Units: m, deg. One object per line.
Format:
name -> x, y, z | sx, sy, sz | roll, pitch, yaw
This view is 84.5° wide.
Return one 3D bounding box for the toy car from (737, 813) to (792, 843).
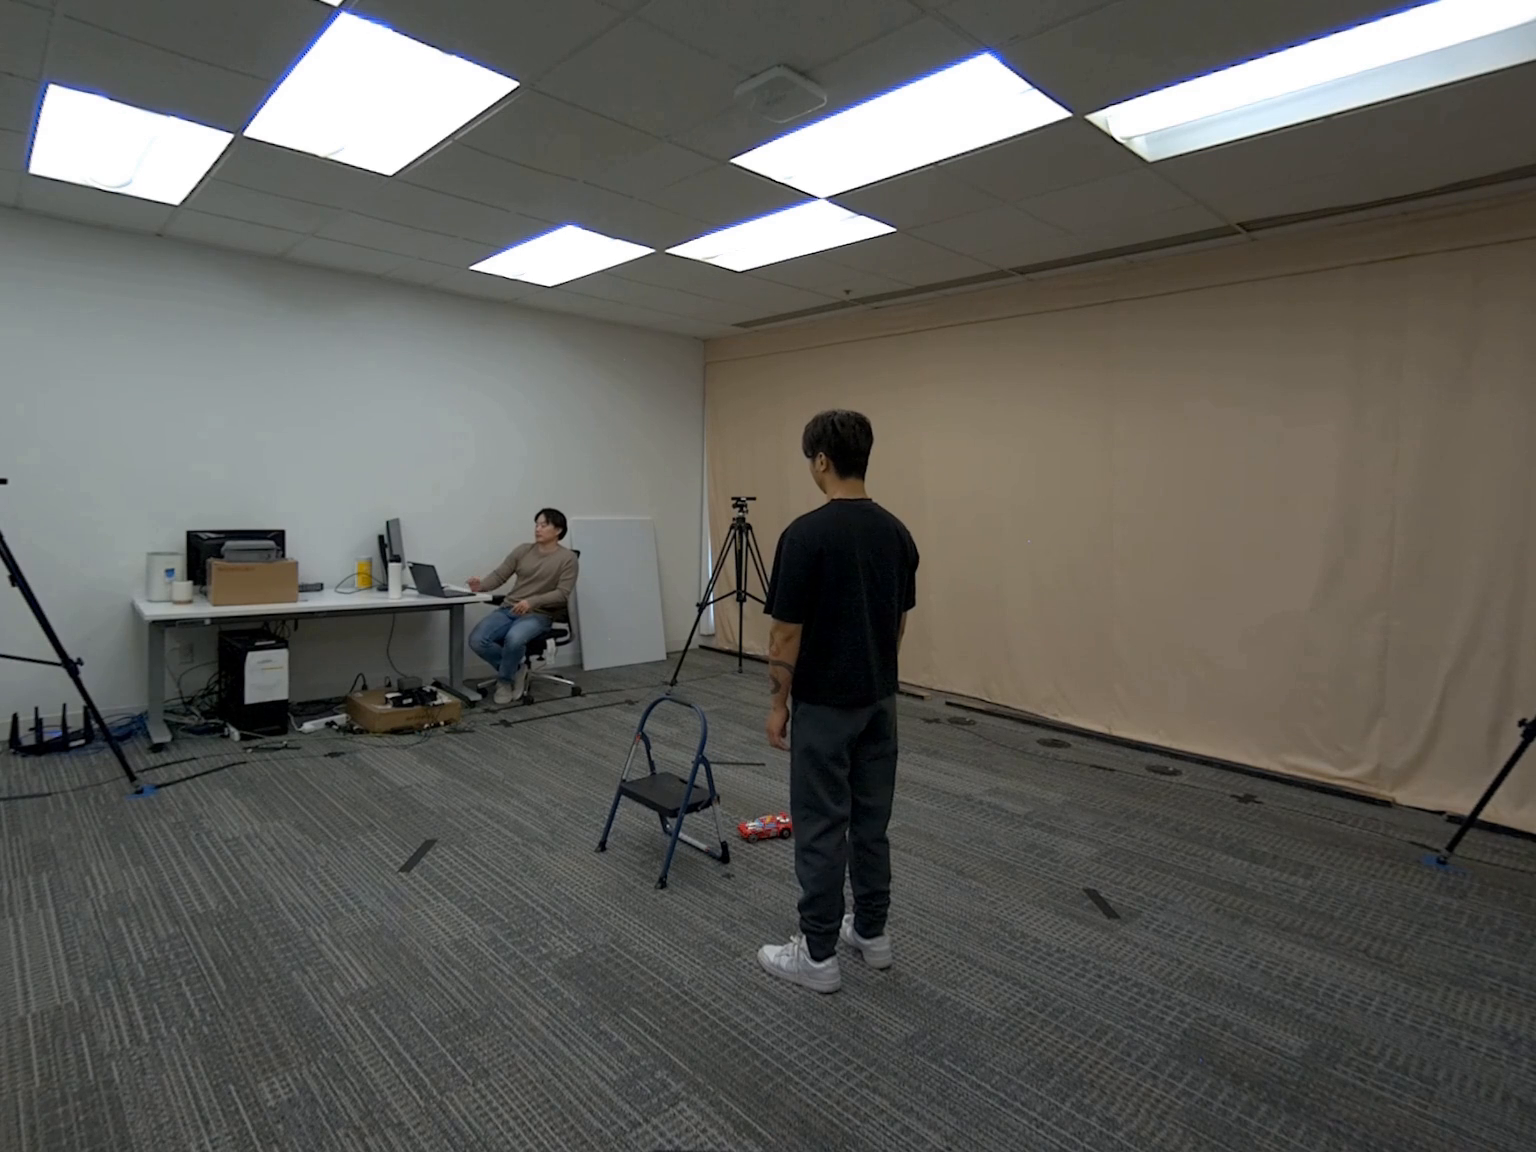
toy car -> 0.000, 1.045, 3.490 | 0.252, 0.083, 0.132 | -13, 9, -19
